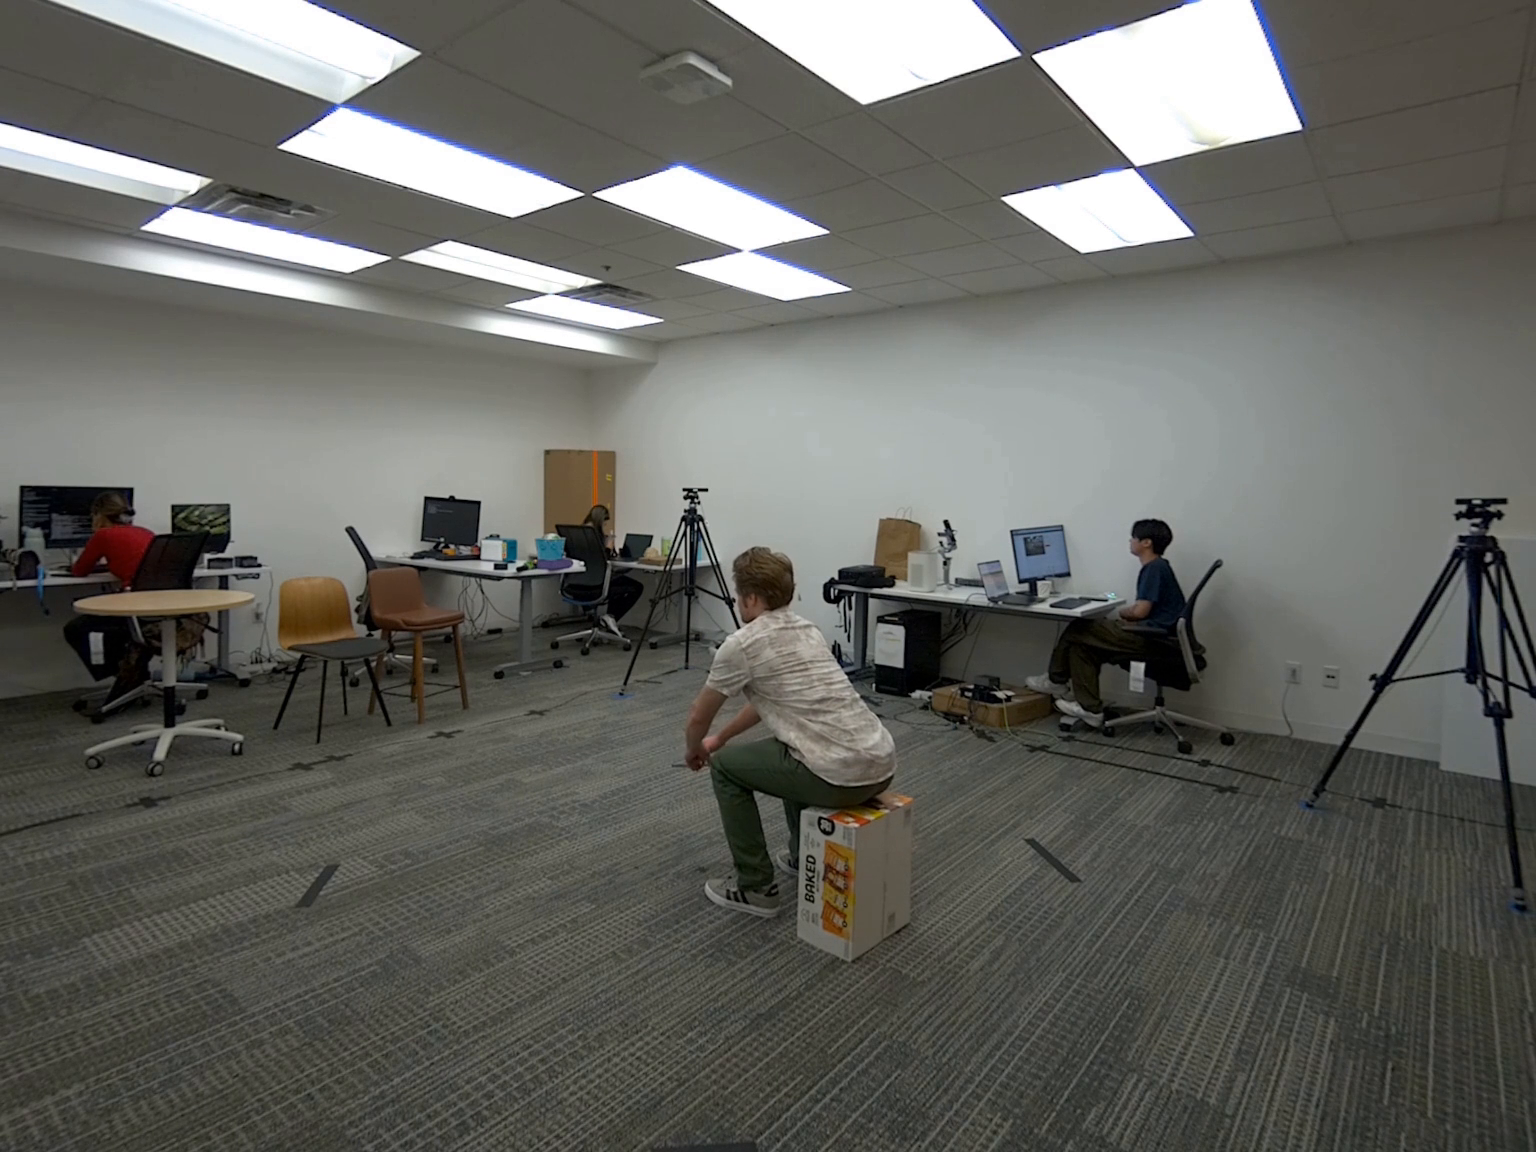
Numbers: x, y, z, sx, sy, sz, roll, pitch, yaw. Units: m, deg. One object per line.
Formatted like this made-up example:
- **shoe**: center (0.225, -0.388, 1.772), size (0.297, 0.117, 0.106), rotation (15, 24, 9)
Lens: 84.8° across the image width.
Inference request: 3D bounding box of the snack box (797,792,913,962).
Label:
- **snack box**: center (0.278, 0.920, 2.690), size (0.212, 0.404, 0.330), rotation (3, 4, 41)
